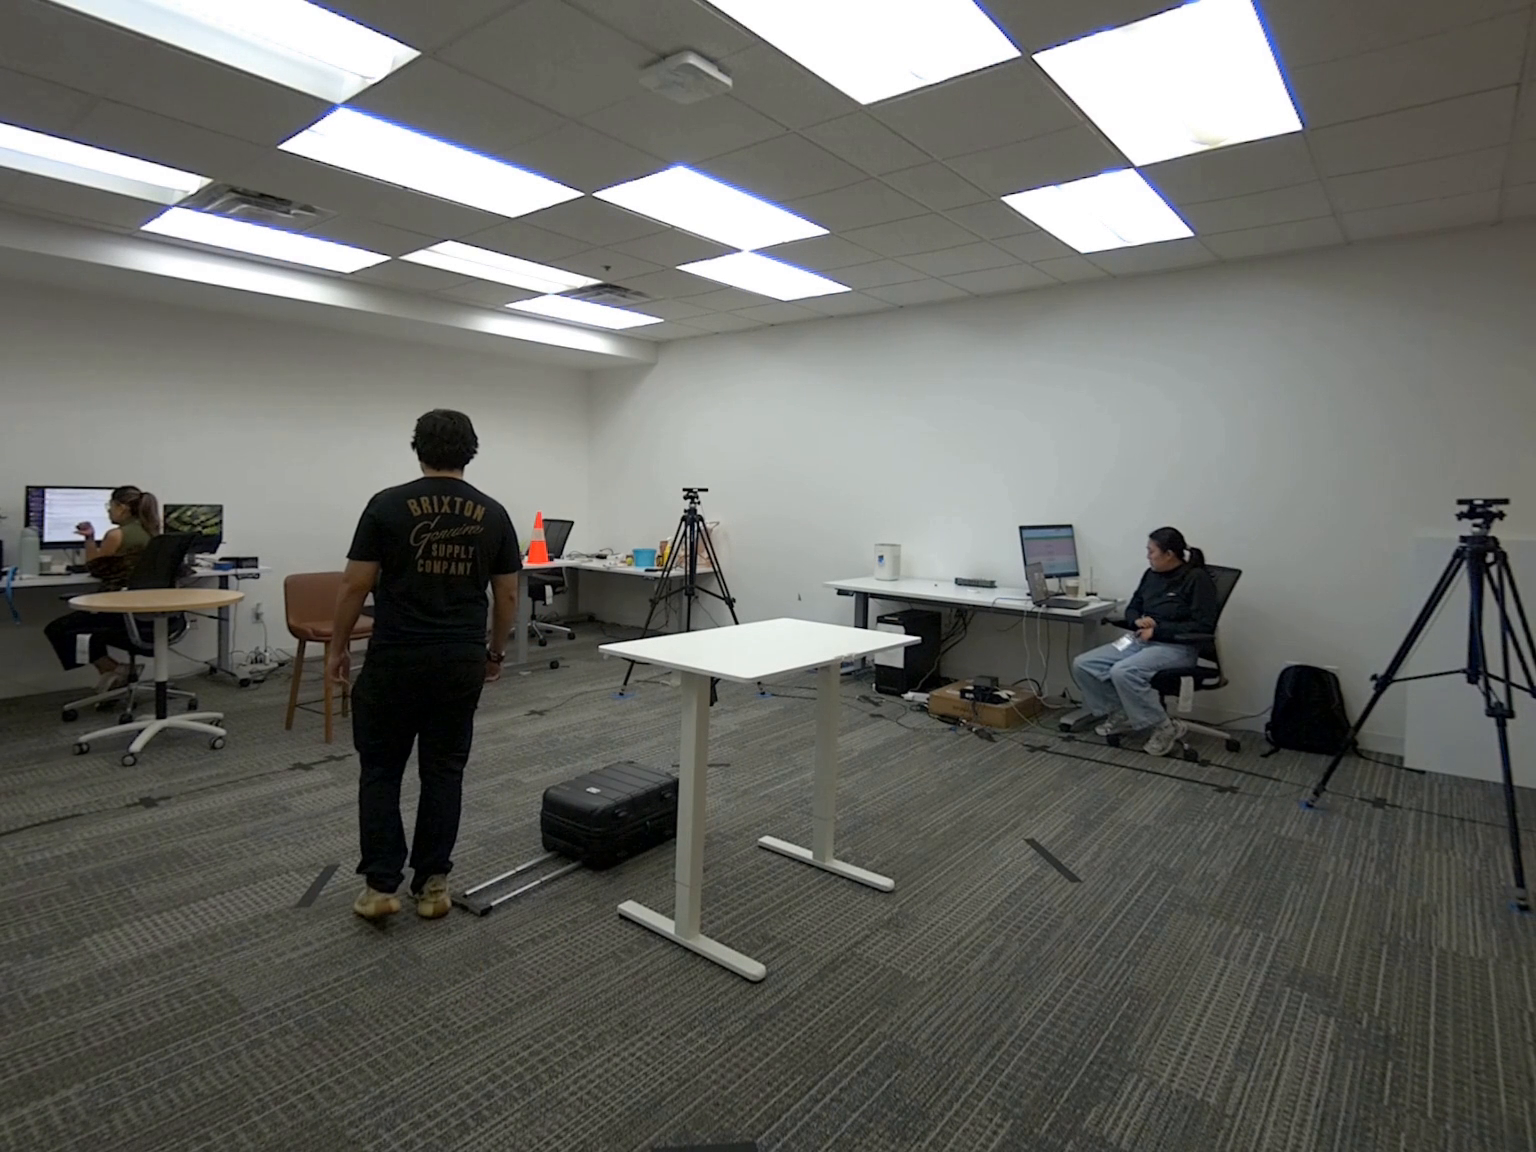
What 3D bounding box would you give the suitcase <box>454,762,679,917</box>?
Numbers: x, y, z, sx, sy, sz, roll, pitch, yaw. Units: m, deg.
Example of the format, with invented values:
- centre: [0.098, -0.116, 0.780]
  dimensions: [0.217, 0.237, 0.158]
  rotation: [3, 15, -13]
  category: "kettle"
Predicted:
- centre: [-0.727, 0.928, 3.166]
  dimensions: [0.397, 0.256, 0.950]
  rotation: [6, 6, 35]
  category: "suitcase"
